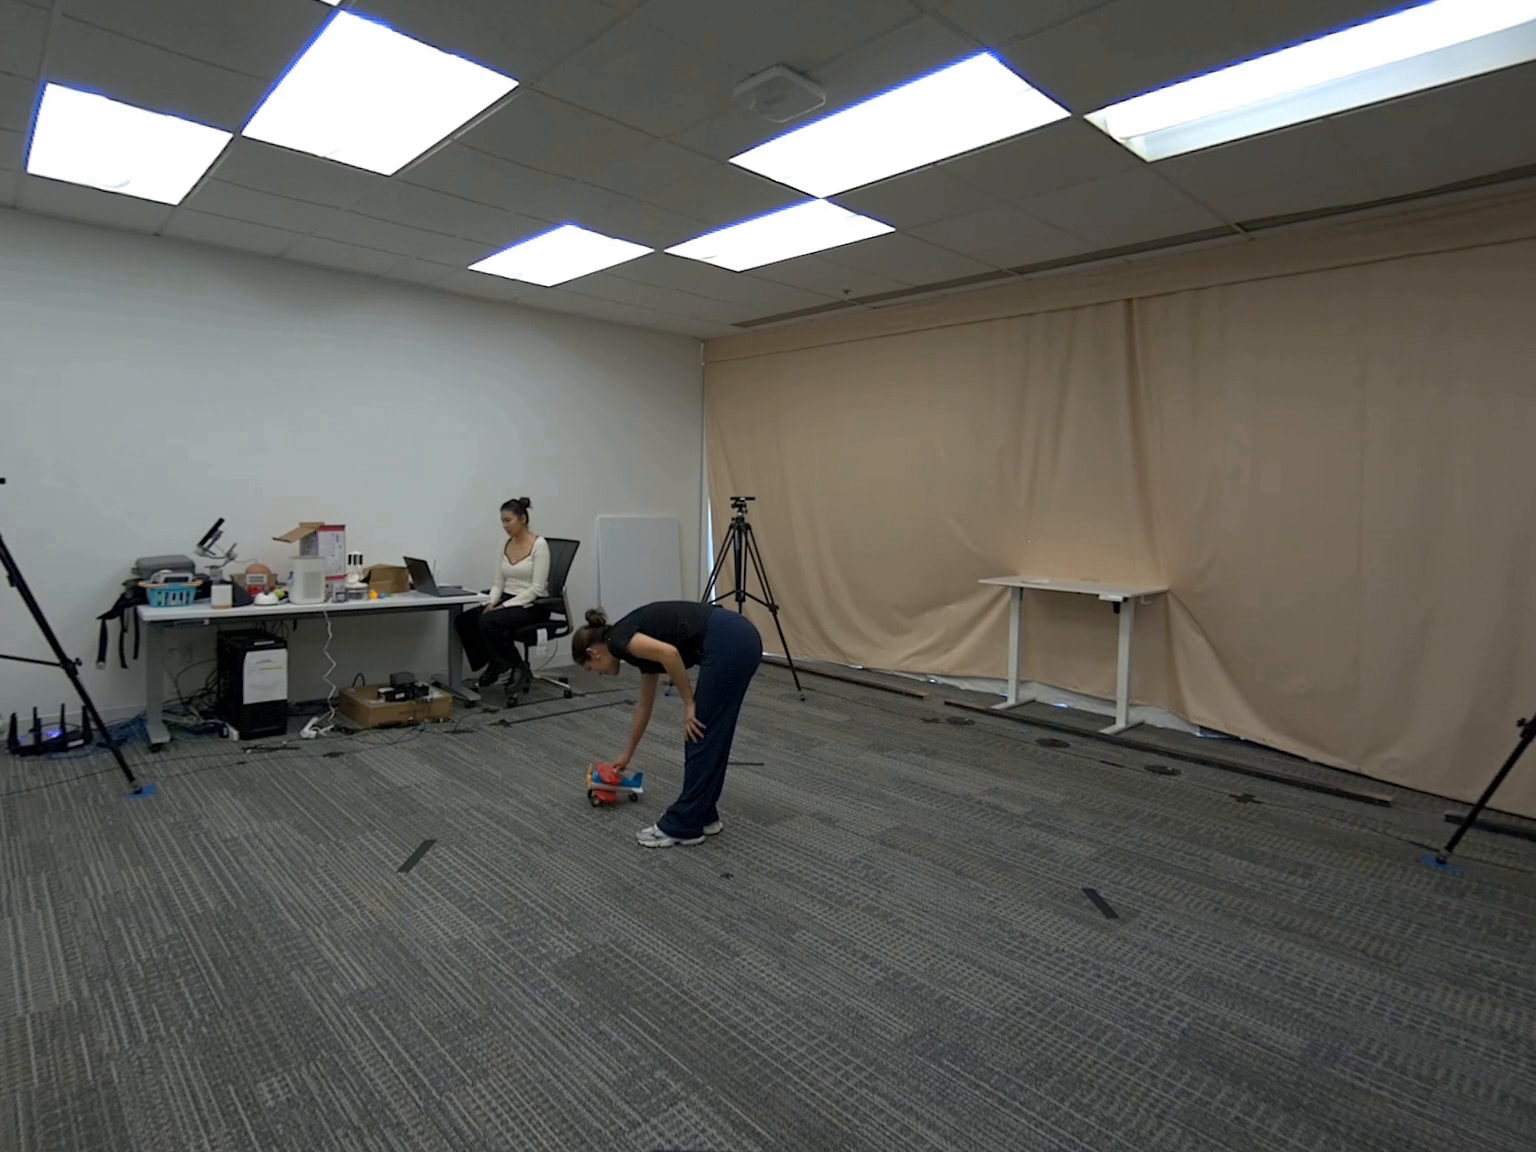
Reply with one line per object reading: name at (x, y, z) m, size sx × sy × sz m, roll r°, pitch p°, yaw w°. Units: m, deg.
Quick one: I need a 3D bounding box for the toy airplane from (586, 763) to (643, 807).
toy airplane at (-0.718, 0.956, 3.836) m, size 0.257 × 0.156 × 0.253 m, roll 6°, pitch 8°, yaw 43°
